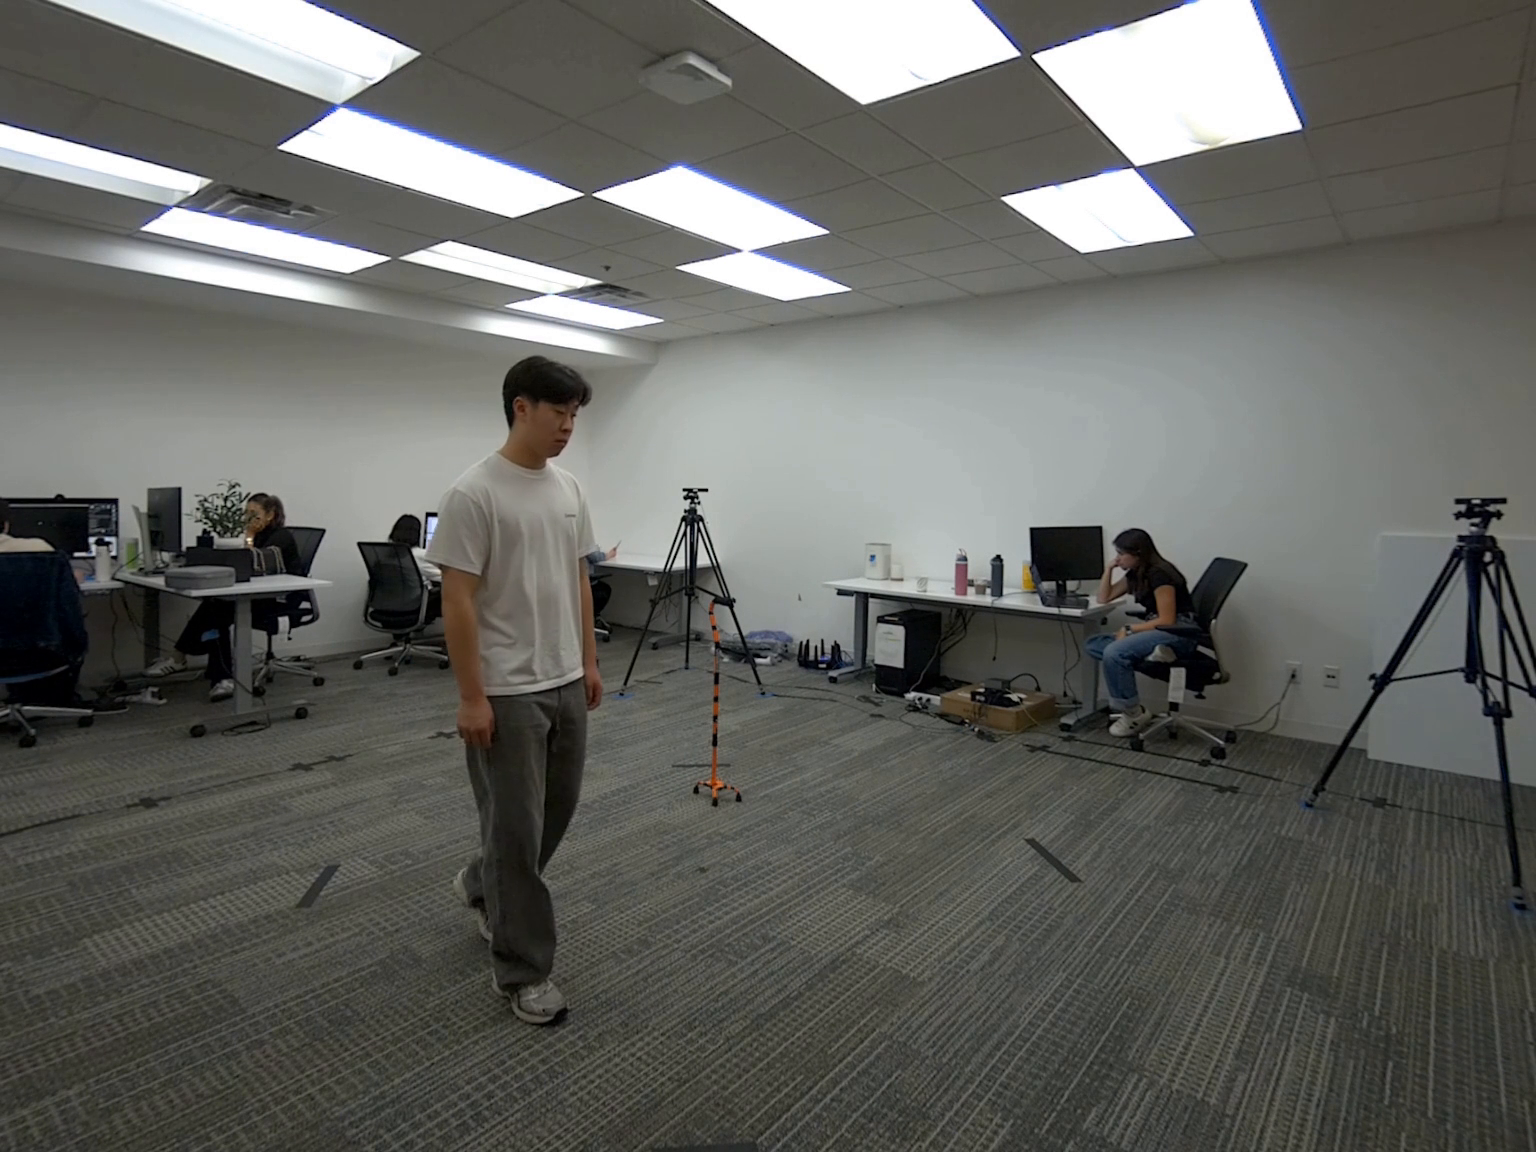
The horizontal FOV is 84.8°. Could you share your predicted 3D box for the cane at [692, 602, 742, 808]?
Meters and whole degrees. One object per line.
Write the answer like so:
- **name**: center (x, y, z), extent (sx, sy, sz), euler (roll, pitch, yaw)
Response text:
- **cane**: center (-0.216, 0.540, 3.836), extent (0.147, 0.906, 0.213), euler (0, 3, -33)
